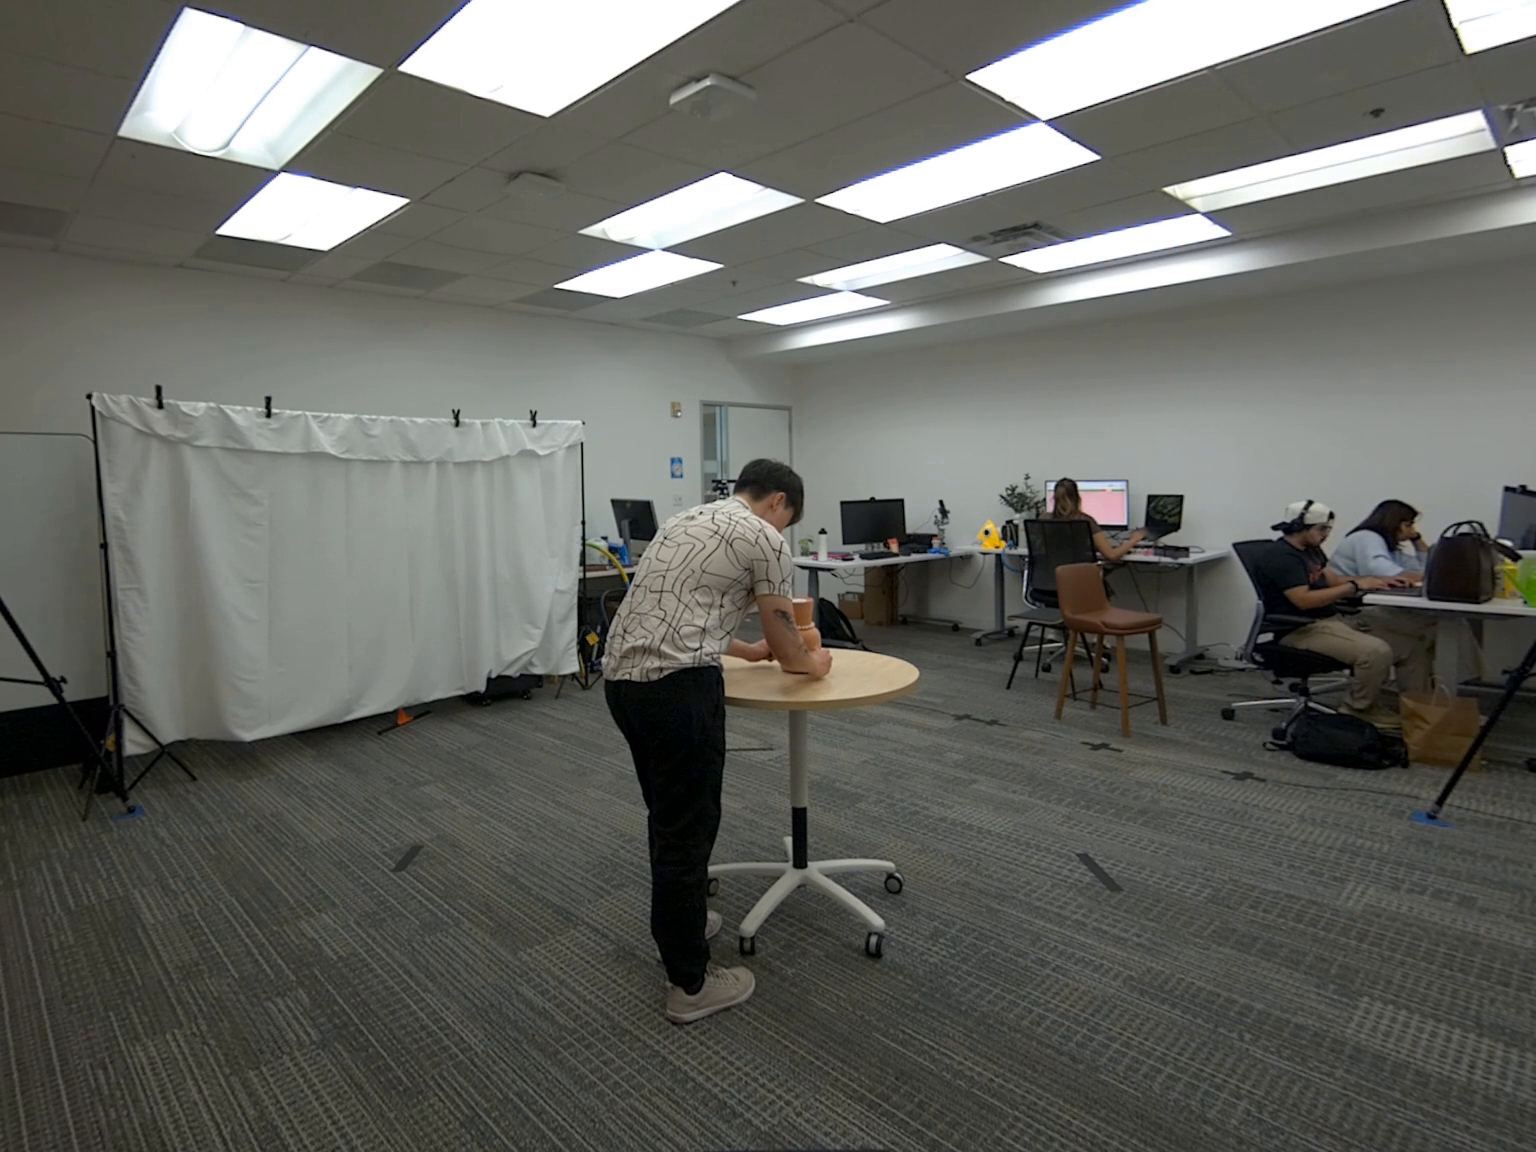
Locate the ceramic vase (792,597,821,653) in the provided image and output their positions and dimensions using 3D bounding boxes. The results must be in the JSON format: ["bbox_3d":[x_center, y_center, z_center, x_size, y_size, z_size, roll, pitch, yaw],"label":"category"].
[{"bbox_3d":[0.103,0.186,2.728,0.160,0.218,0.134,-3,8,9],"label":"ceramic vase"}]
